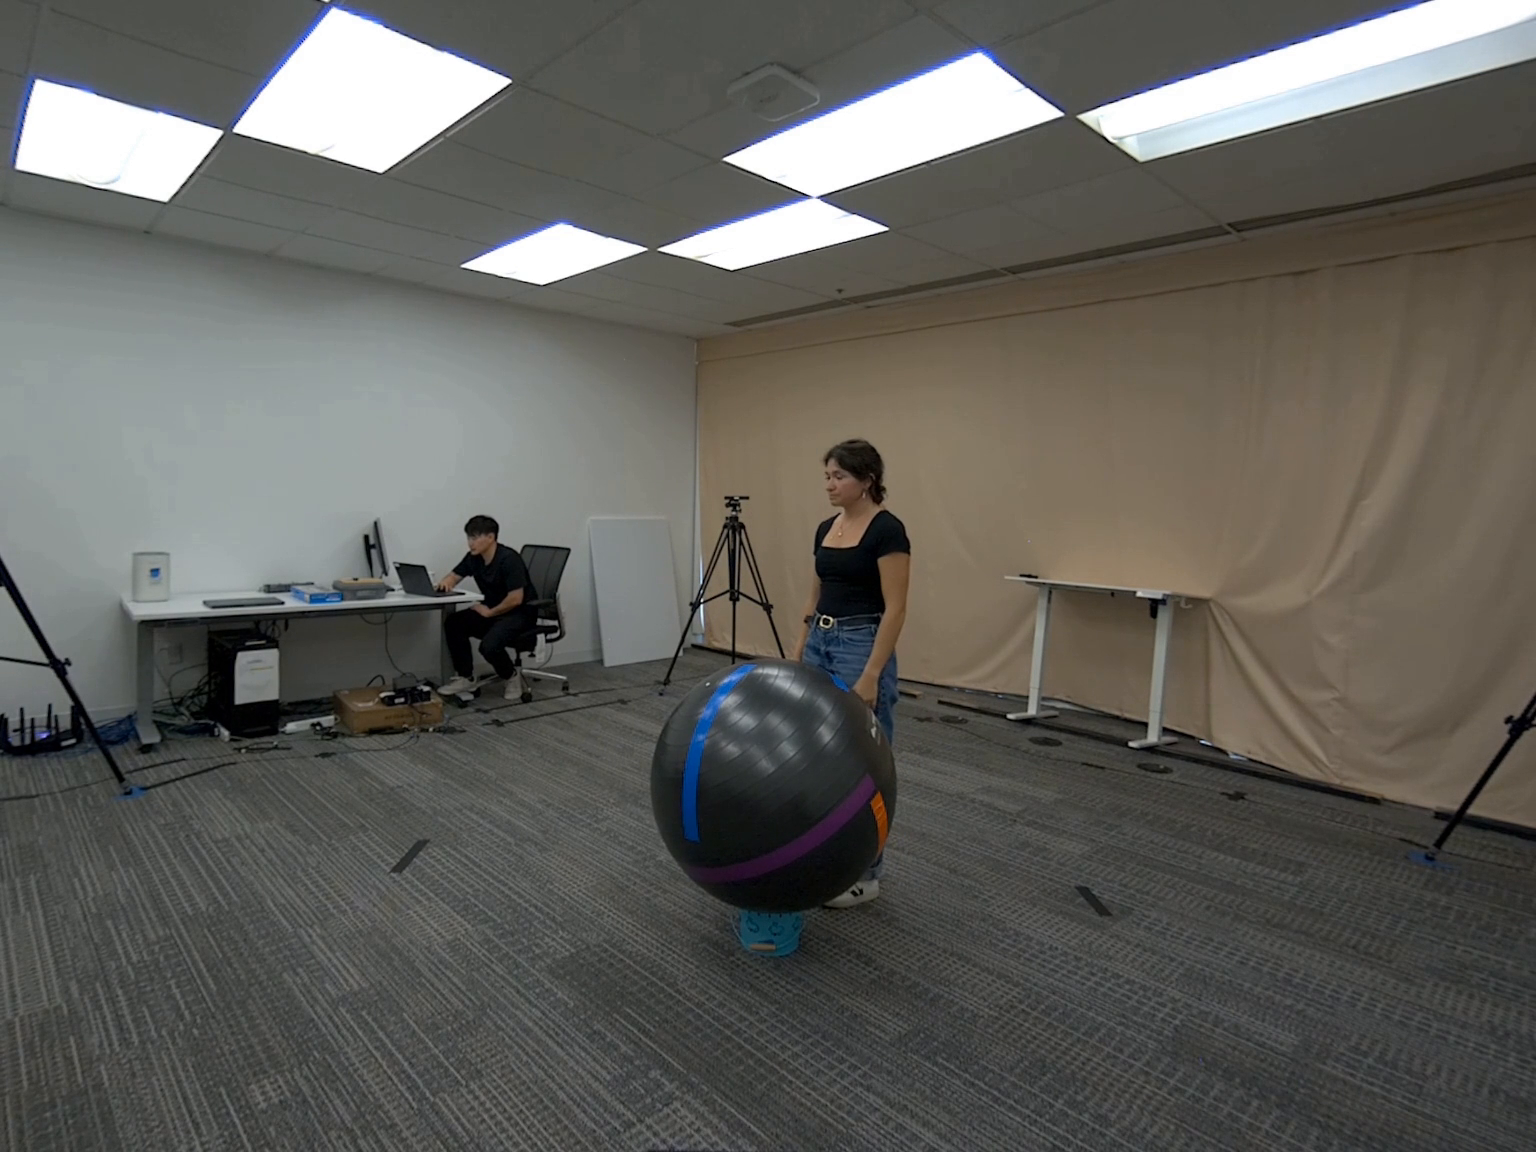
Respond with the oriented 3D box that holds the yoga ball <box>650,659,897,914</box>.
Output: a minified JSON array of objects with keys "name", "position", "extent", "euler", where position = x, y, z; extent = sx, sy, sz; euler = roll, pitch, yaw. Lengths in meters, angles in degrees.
[{"name":"yoga ball","position":[0.013,0.647,2.593],"extent":[0.757,0.756,0.761],"euler":[1,4,-1]}]
